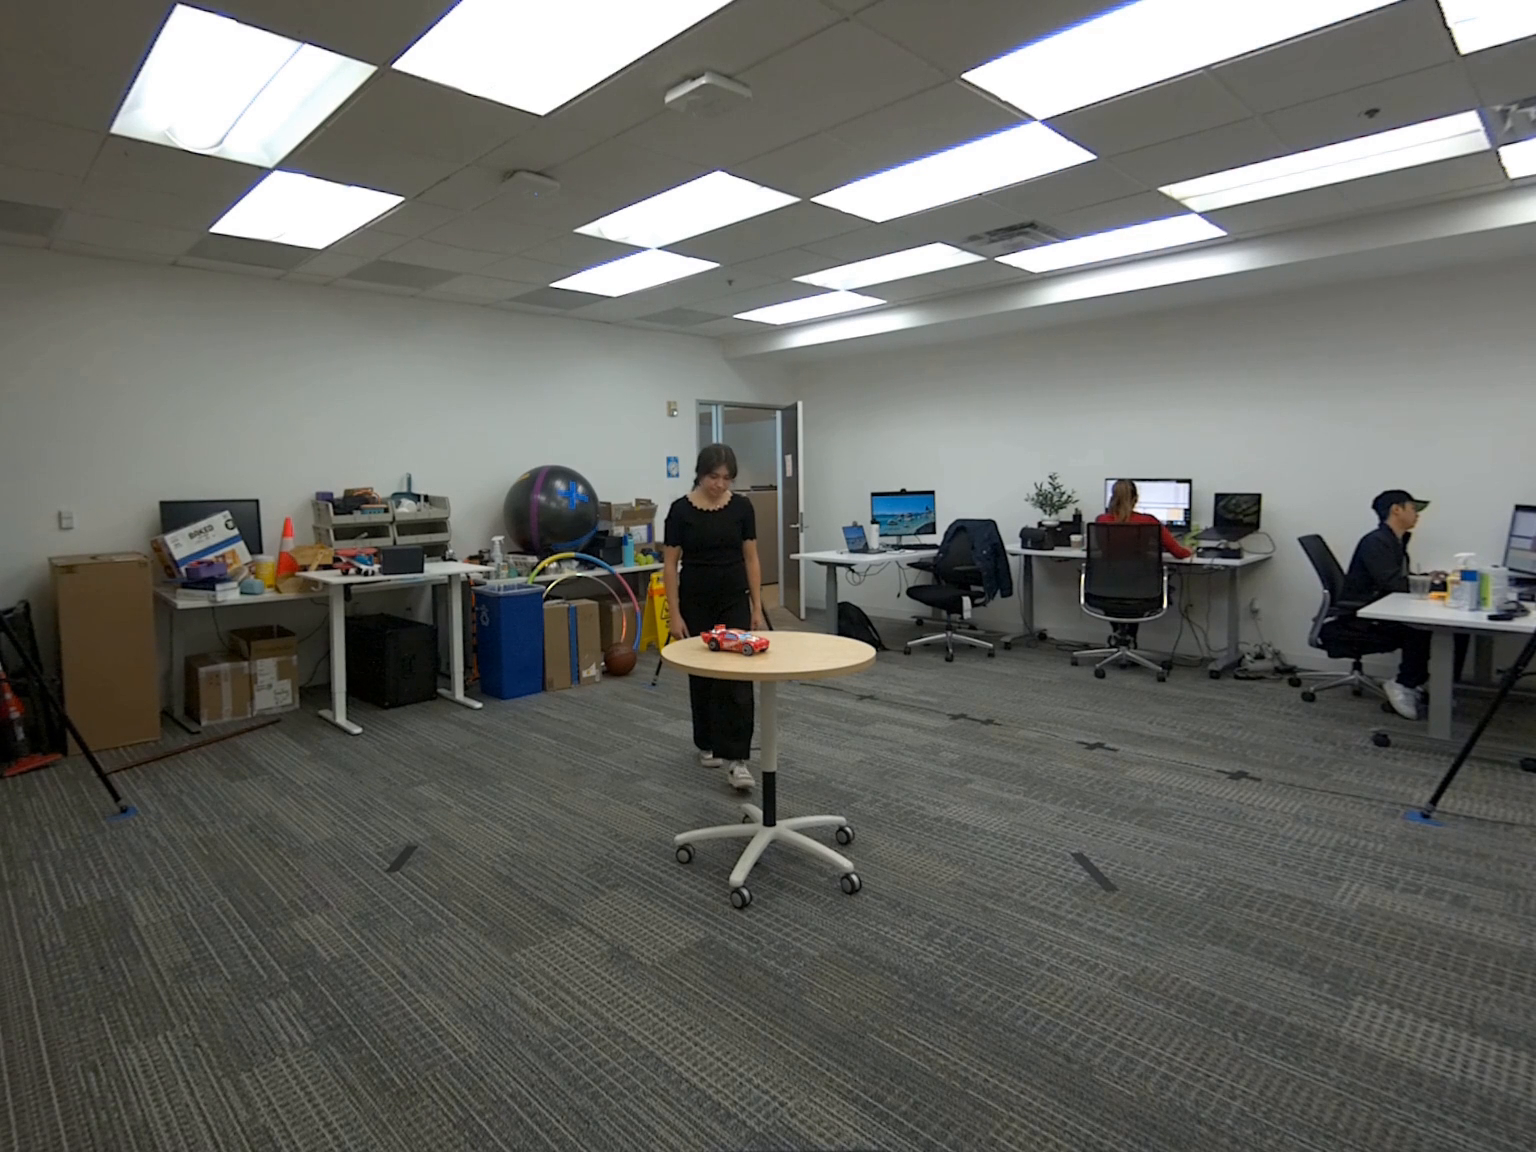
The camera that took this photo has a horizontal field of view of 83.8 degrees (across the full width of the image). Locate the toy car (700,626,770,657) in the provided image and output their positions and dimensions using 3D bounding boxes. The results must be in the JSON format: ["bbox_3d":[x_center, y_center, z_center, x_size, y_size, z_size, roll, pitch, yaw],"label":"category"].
[{"bbox_3d":[-0.126,0.238,3.053,0.263,0.082,0.127,16,13,33],"label":"toy car"}]
